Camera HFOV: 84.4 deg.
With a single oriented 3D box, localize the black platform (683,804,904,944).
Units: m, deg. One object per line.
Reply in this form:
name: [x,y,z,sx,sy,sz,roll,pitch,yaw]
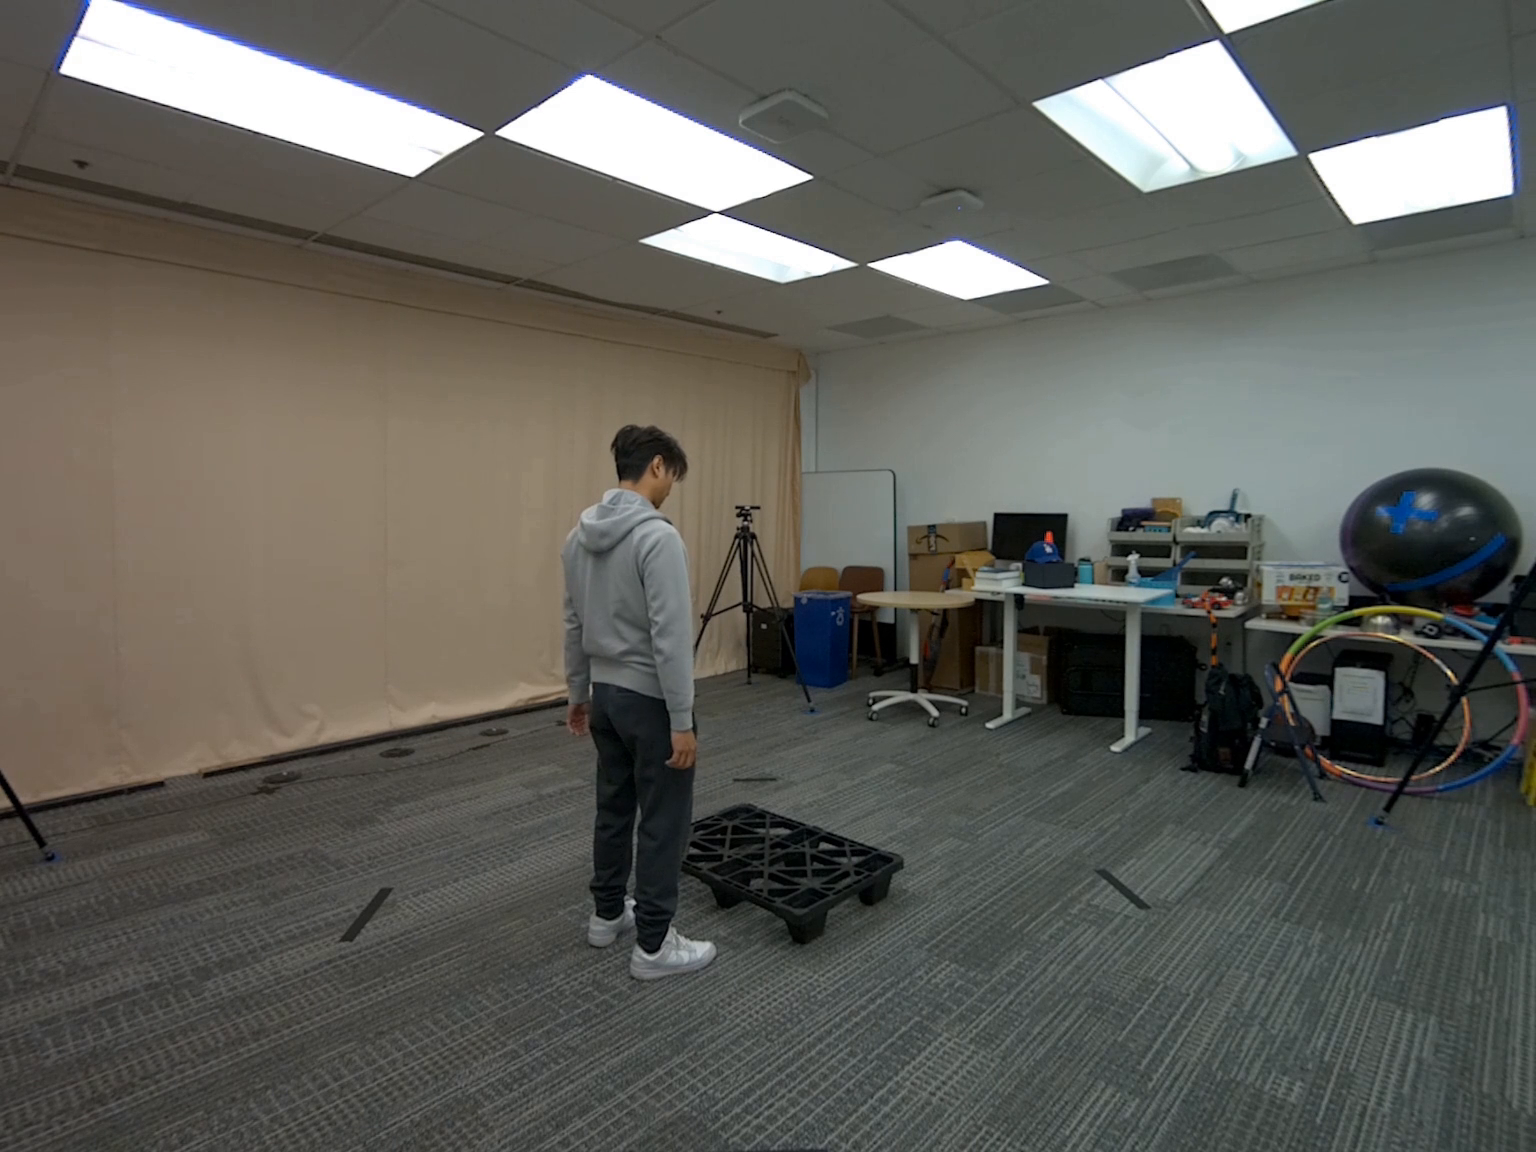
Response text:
black platform: [0.002,1.071,3.079,0.832,0.143,0.587,4,7,43]
